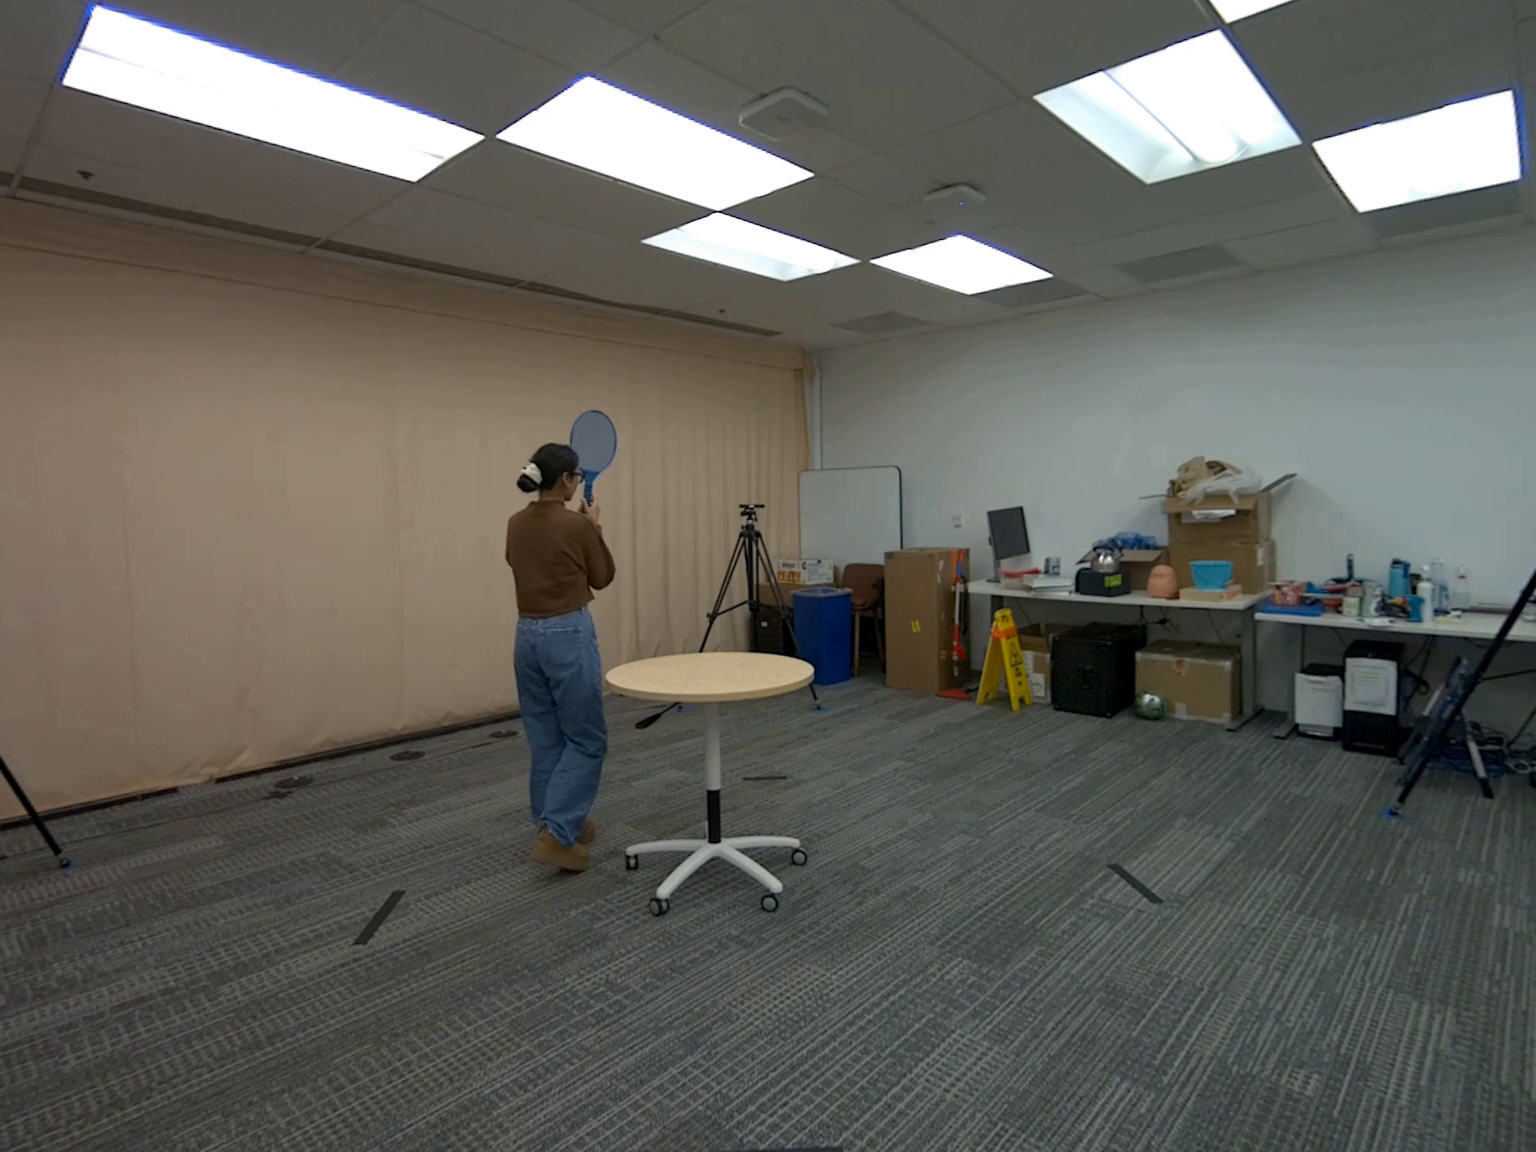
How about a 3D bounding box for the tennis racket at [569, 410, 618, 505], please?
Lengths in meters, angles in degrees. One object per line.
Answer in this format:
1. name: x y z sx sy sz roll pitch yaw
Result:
1. tennis racket: -0.737 -0.477 3.495 0.207 0.434 0.033 12 -8 -35
